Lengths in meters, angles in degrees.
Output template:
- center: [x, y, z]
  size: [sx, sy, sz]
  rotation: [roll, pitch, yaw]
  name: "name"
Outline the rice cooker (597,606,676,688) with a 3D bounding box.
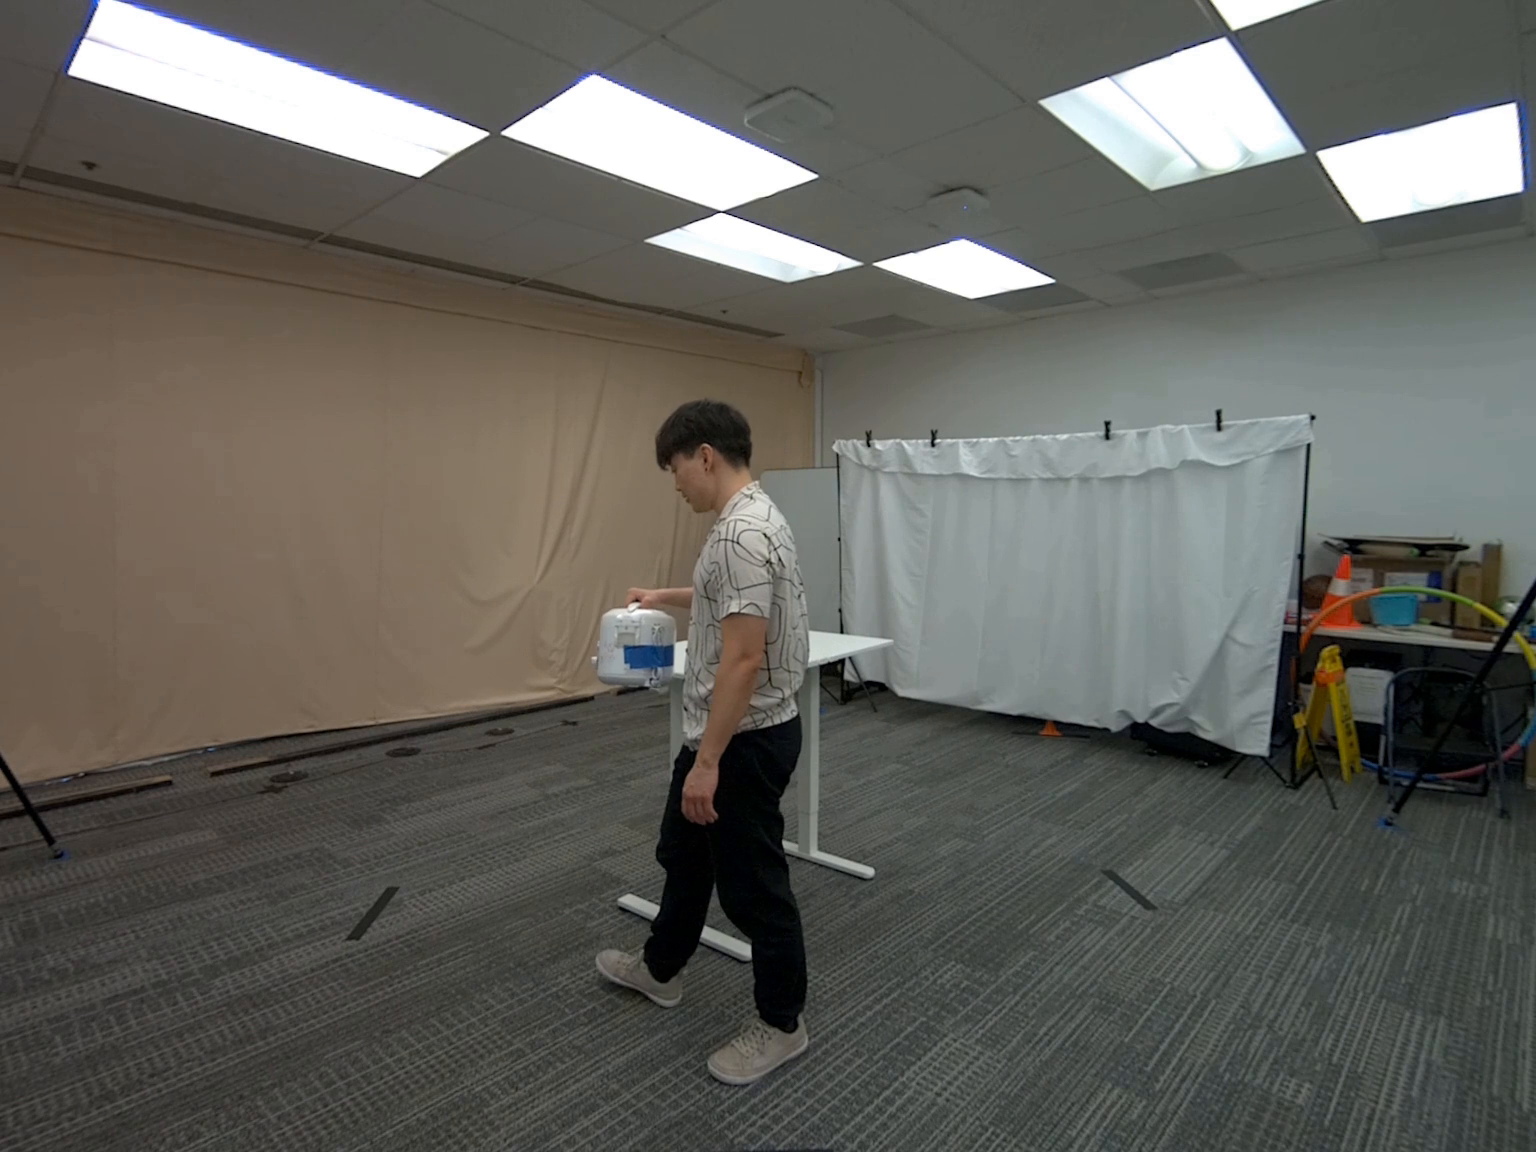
- center: [-0.363, 0.188, 2.329]
  size: [0.220, 0.234, 0.216]
  rotation: [2, -9, 12]
  name: "rice cooker"
